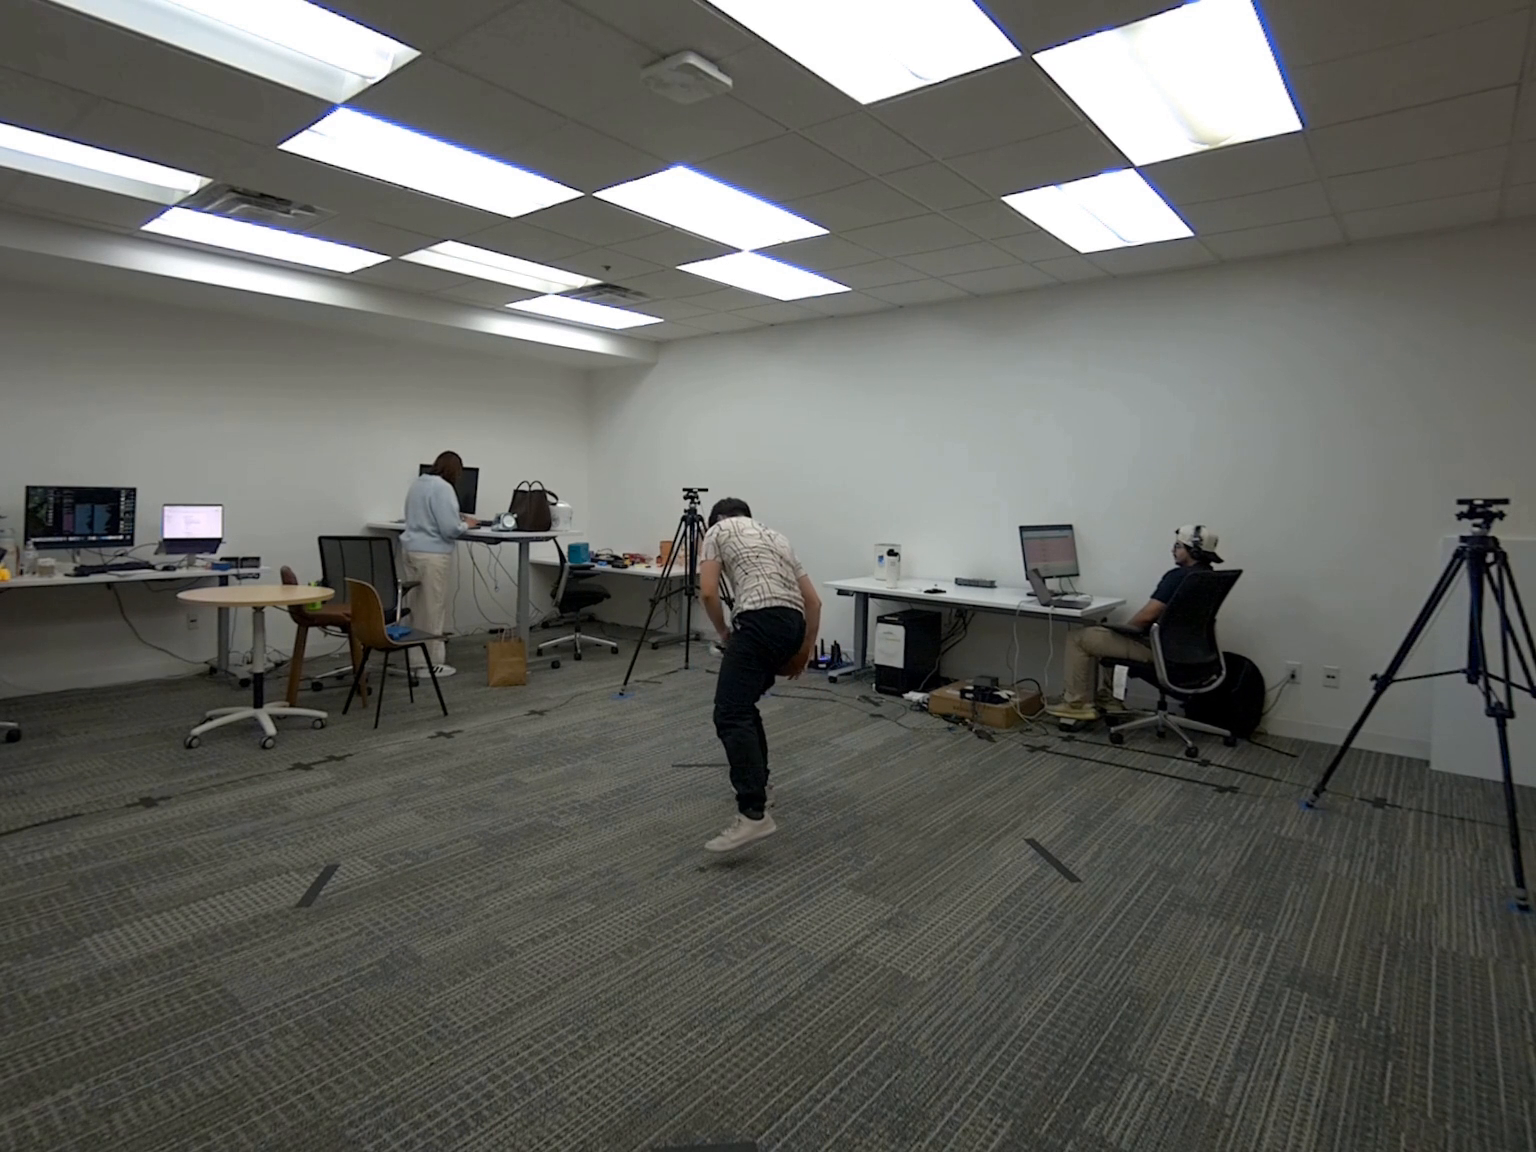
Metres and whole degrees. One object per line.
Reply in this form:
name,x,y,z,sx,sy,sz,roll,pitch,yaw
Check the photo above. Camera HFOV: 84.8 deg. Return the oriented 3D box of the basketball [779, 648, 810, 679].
basketball,0.060,0.344,3.953,0.235,0.235,0.237,1,4,-2
